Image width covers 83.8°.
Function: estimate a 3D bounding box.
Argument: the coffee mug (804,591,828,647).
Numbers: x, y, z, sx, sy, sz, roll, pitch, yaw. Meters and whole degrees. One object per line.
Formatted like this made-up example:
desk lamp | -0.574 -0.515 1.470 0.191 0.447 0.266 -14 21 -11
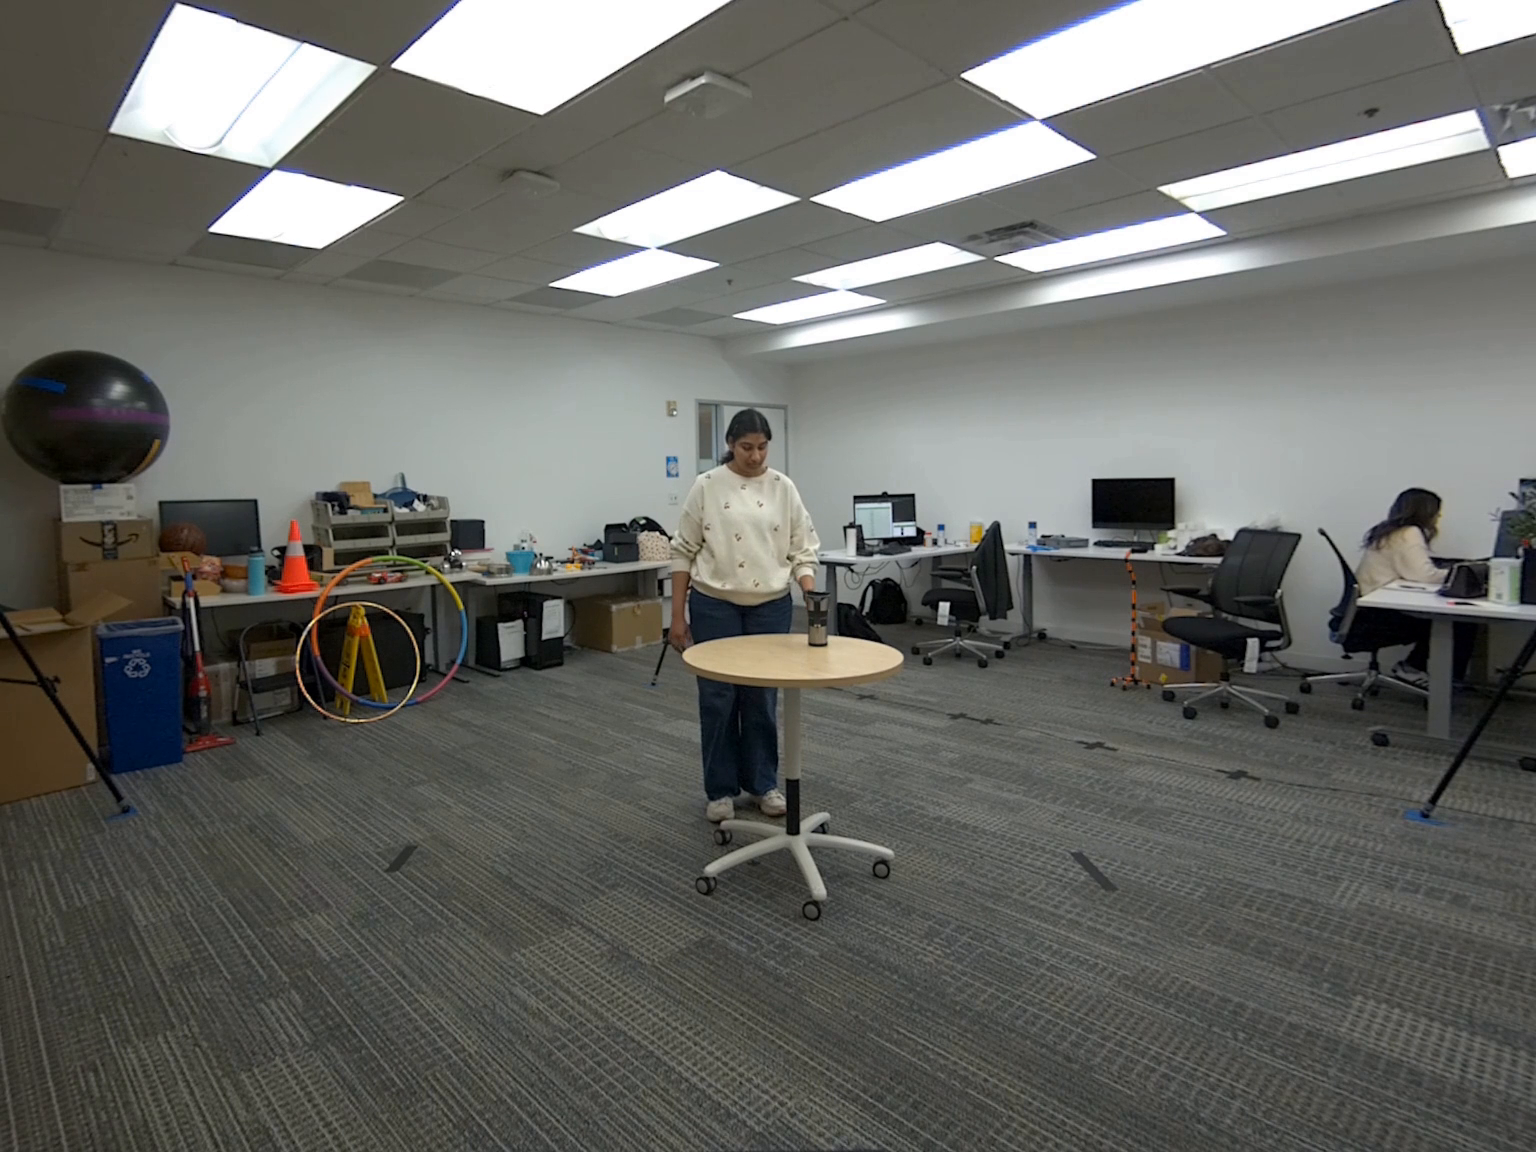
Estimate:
coffee mug | 0.175 0.160 3.120 0.090 0.202 0.118 5 3 35
